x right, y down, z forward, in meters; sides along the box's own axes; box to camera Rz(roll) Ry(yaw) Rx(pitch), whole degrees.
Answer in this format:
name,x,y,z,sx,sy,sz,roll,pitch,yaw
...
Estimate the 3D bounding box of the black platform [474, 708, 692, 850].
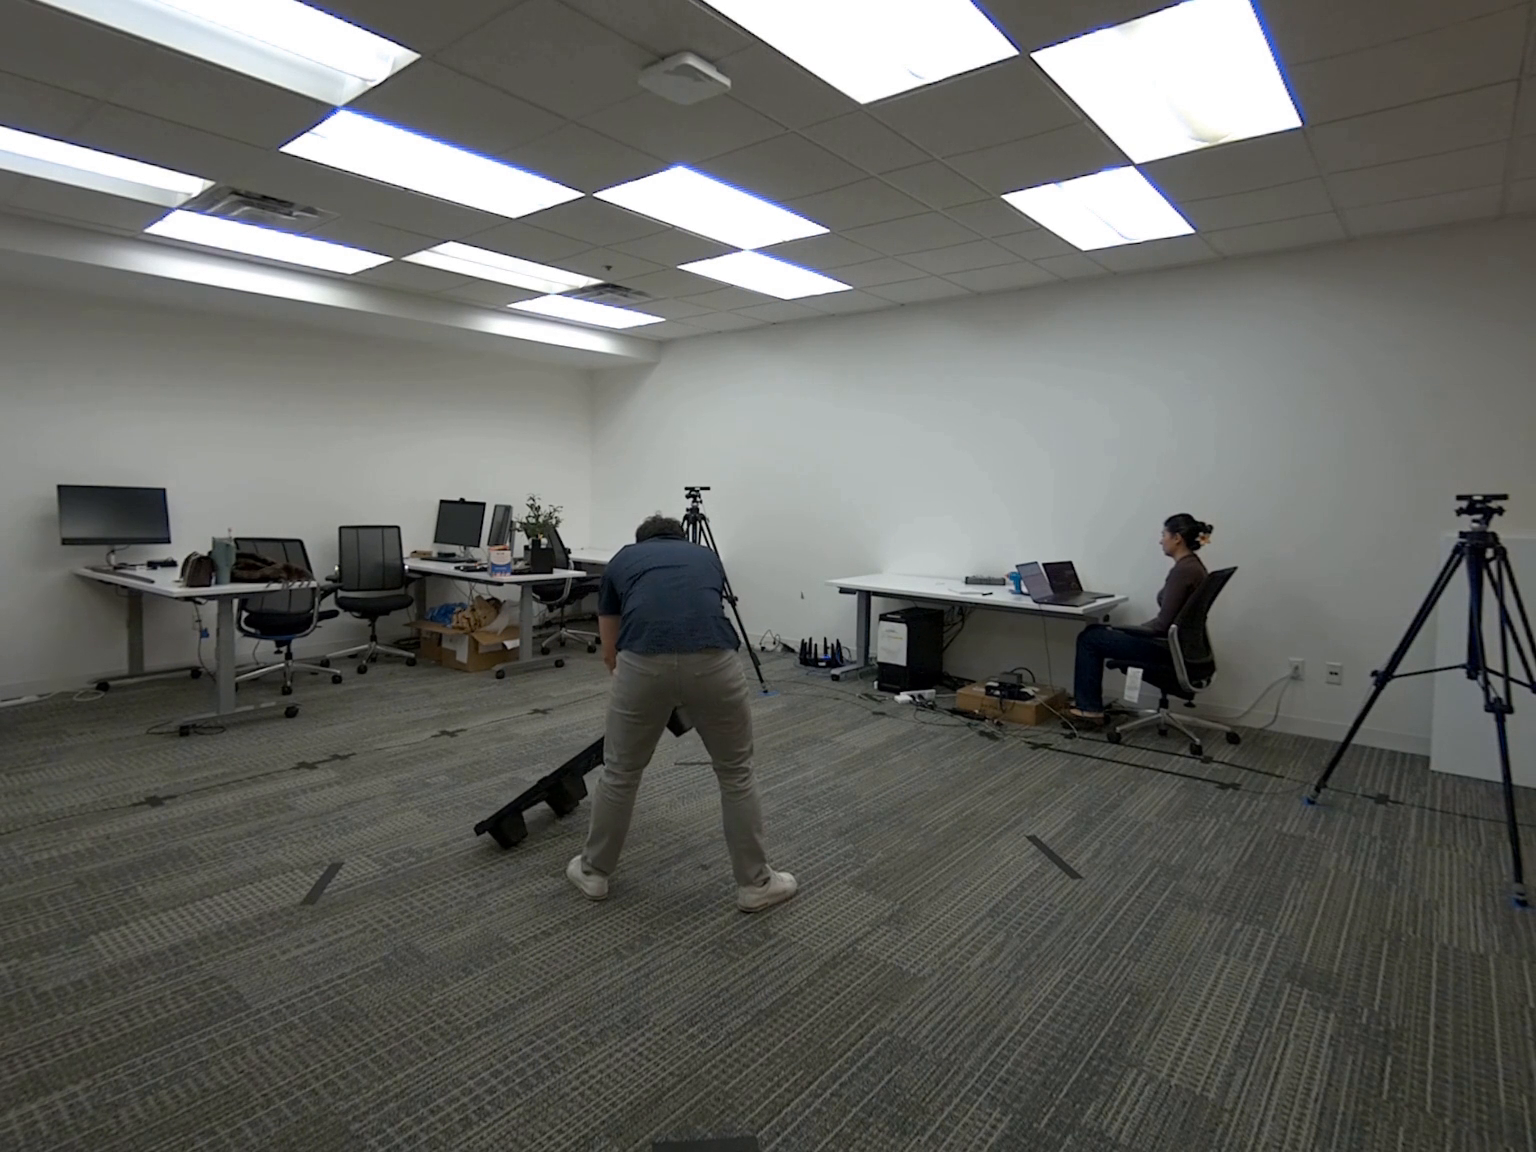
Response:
name,x,y,z,sx,sy,sz,roll,pitch,yaw
black platform,-0.691,0.766,3.332,0.809,0.145,0.594,-37,-8,19
